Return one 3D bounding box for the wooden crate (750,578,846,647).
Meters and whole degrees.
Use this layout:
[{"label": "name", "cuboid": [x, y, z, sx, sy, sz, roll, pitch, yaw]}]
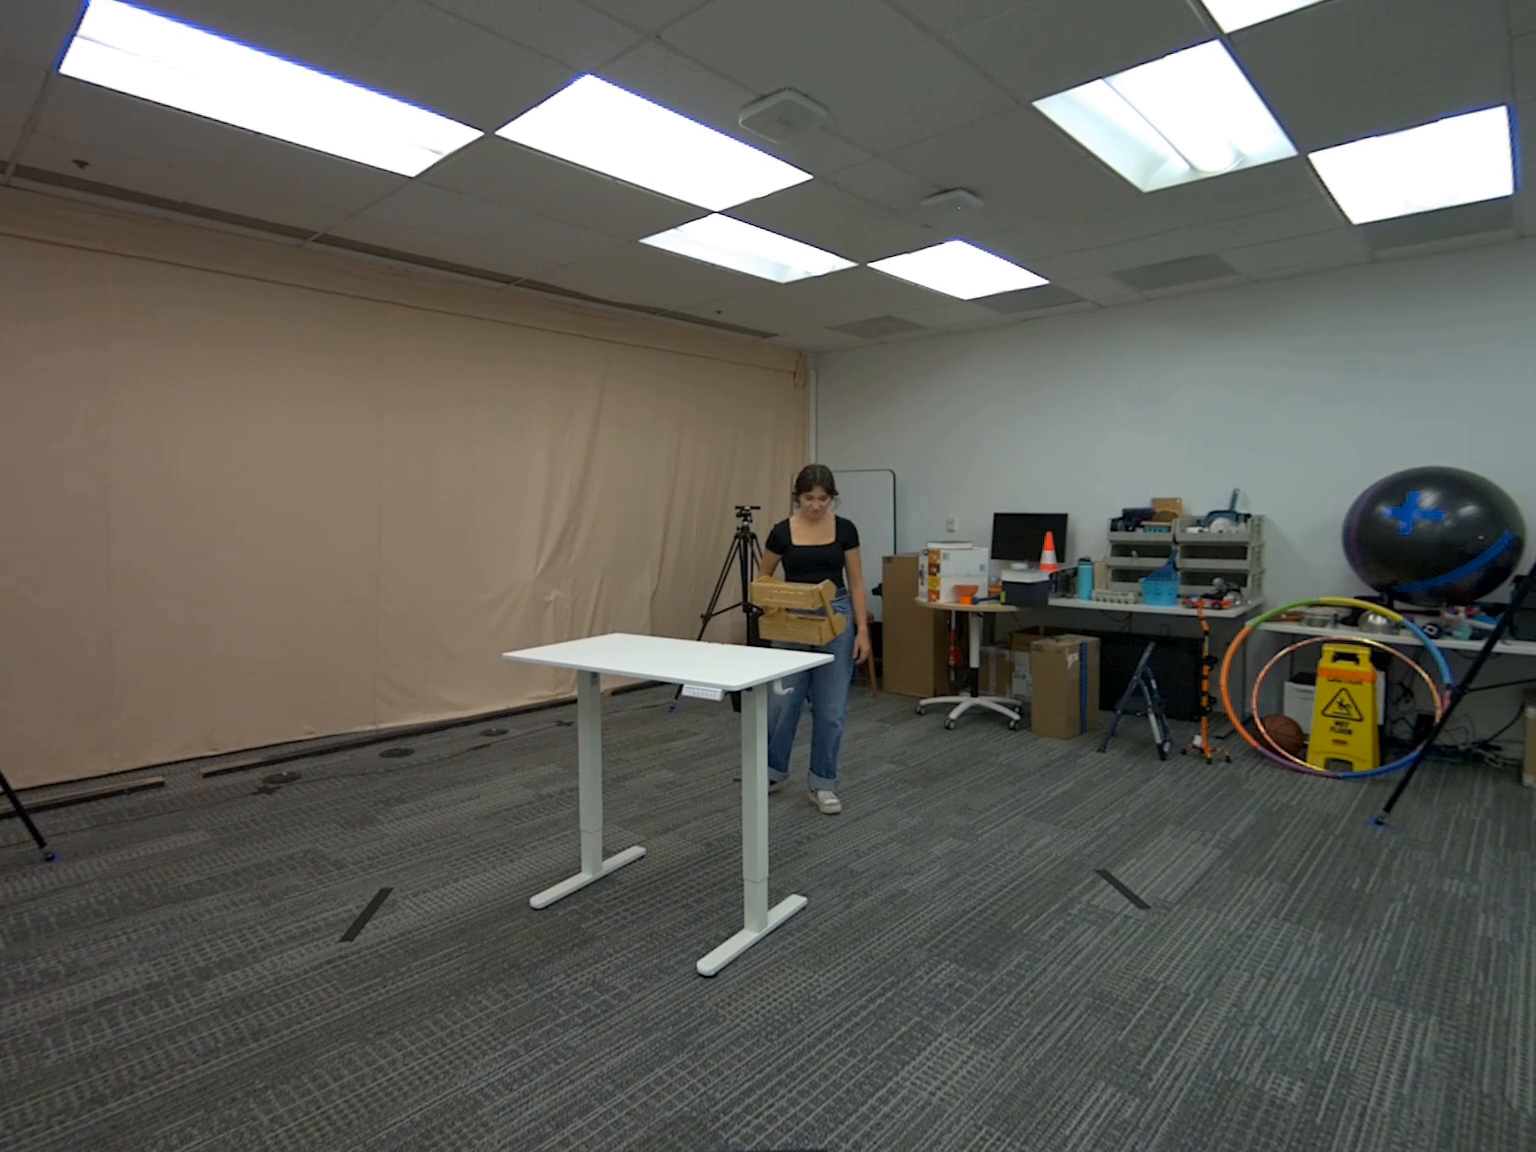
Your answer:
[{"label": "wooden crate", "cuboid": [0.139, 0.131, 3.649, 0.334, 0.271, 0.296, 3, 15, 32]}]
